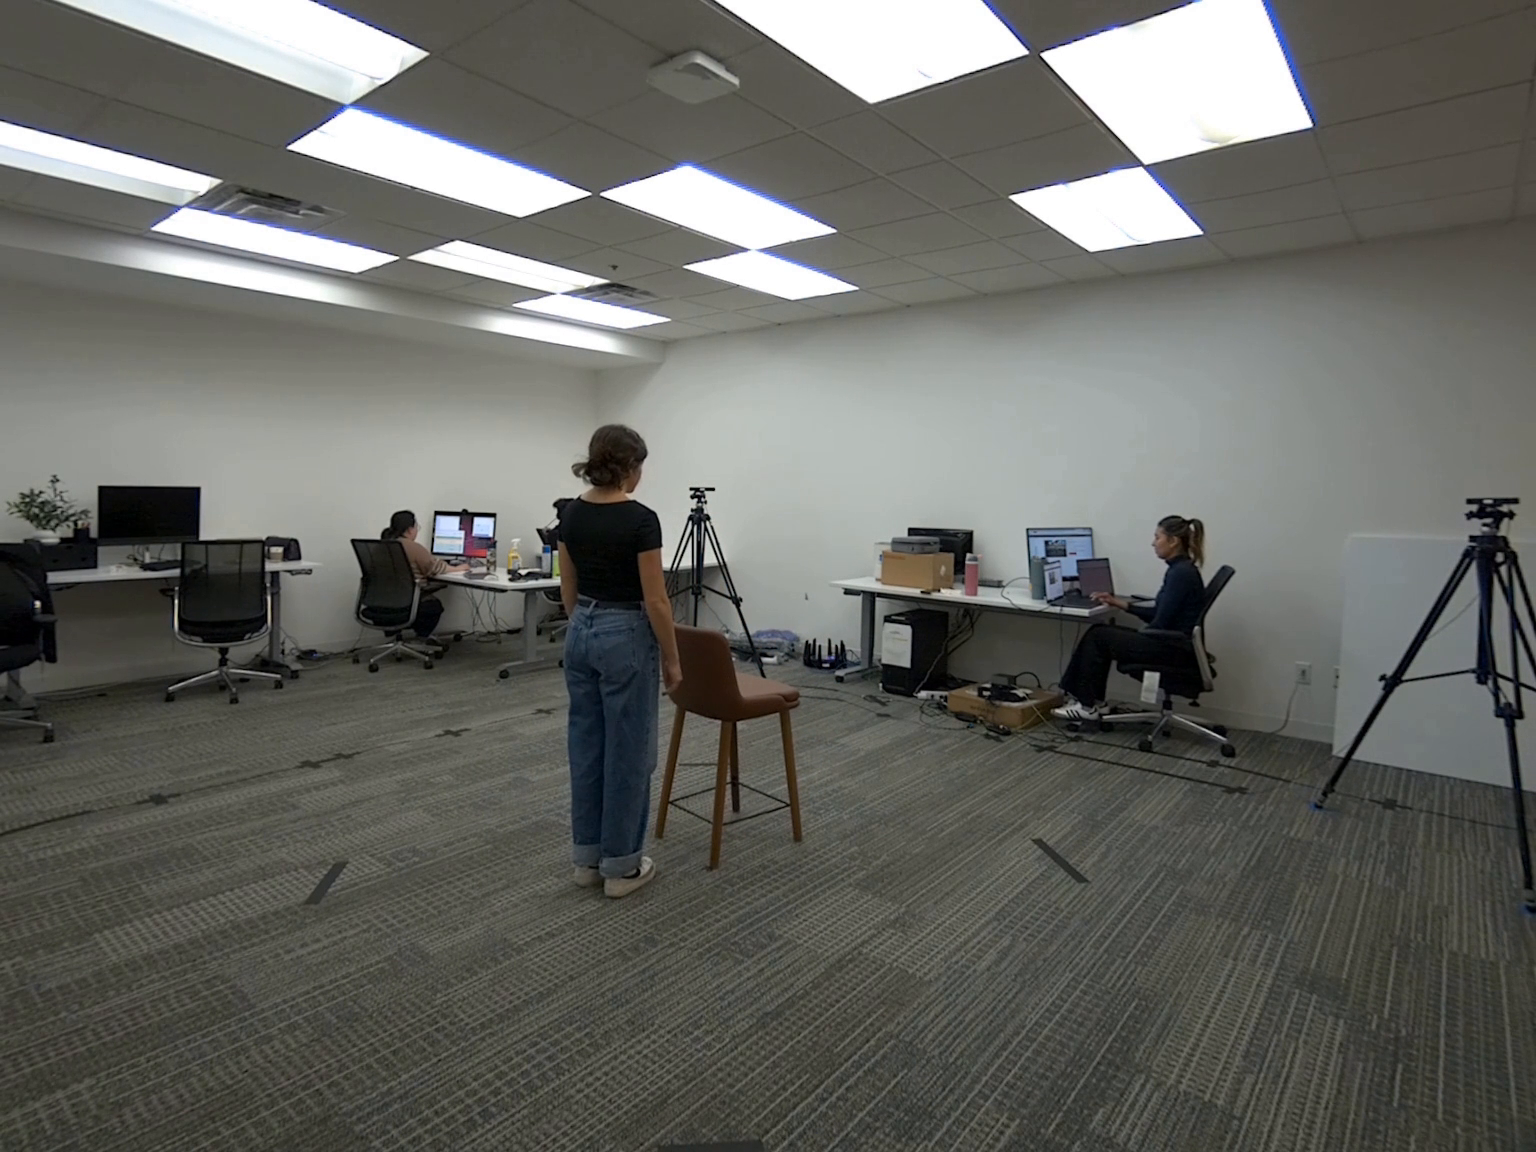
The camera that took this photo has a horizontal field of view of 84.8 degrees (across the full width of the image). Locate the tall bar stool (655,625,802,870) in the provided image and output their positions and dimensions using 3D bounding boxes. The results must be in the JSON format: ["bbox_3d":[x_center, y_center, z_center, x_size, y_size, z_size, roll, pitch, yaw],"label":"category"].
[{"bbox_3d":[-0.169,0.609,3.363,0.454,0.887,0.472,-4,5,-42],"label":"tall bar stool"}]
